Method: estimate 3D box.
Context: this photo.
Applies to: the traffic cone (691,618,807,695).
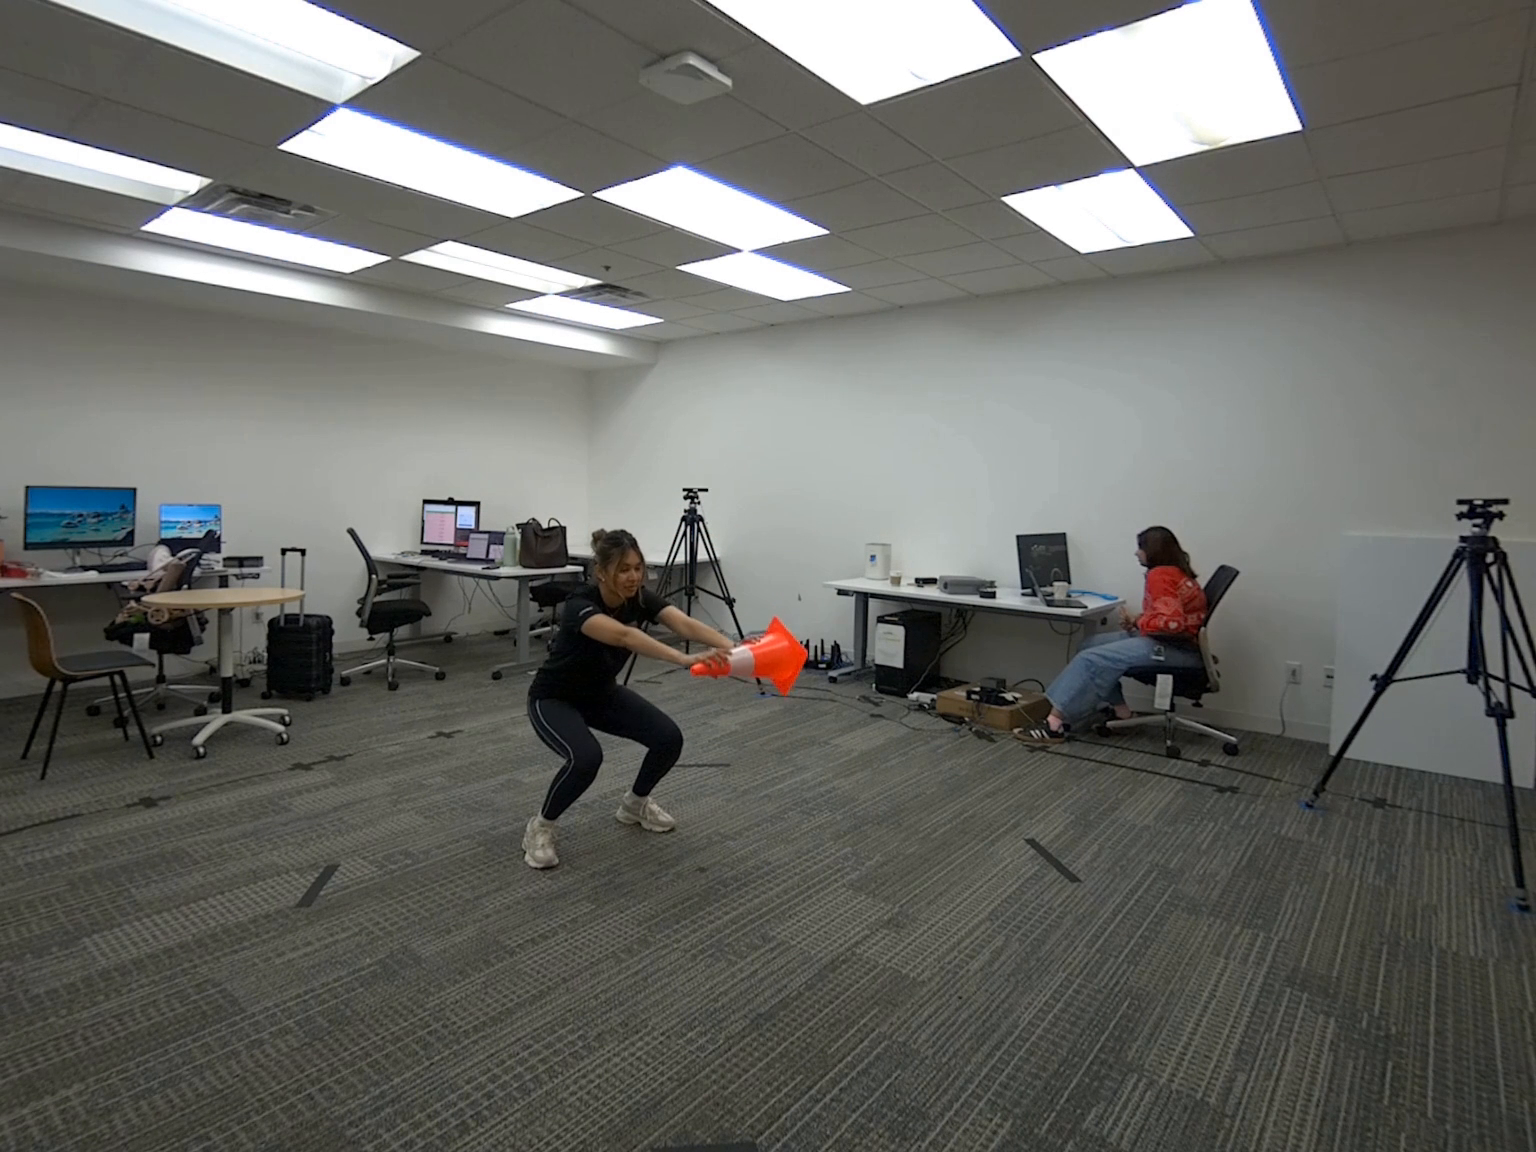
[{"bbox_3d":[-0.114,0.278,2.785,0.373,0.202,0.212,-6,40,-38],"label":"traffic cone"}]
